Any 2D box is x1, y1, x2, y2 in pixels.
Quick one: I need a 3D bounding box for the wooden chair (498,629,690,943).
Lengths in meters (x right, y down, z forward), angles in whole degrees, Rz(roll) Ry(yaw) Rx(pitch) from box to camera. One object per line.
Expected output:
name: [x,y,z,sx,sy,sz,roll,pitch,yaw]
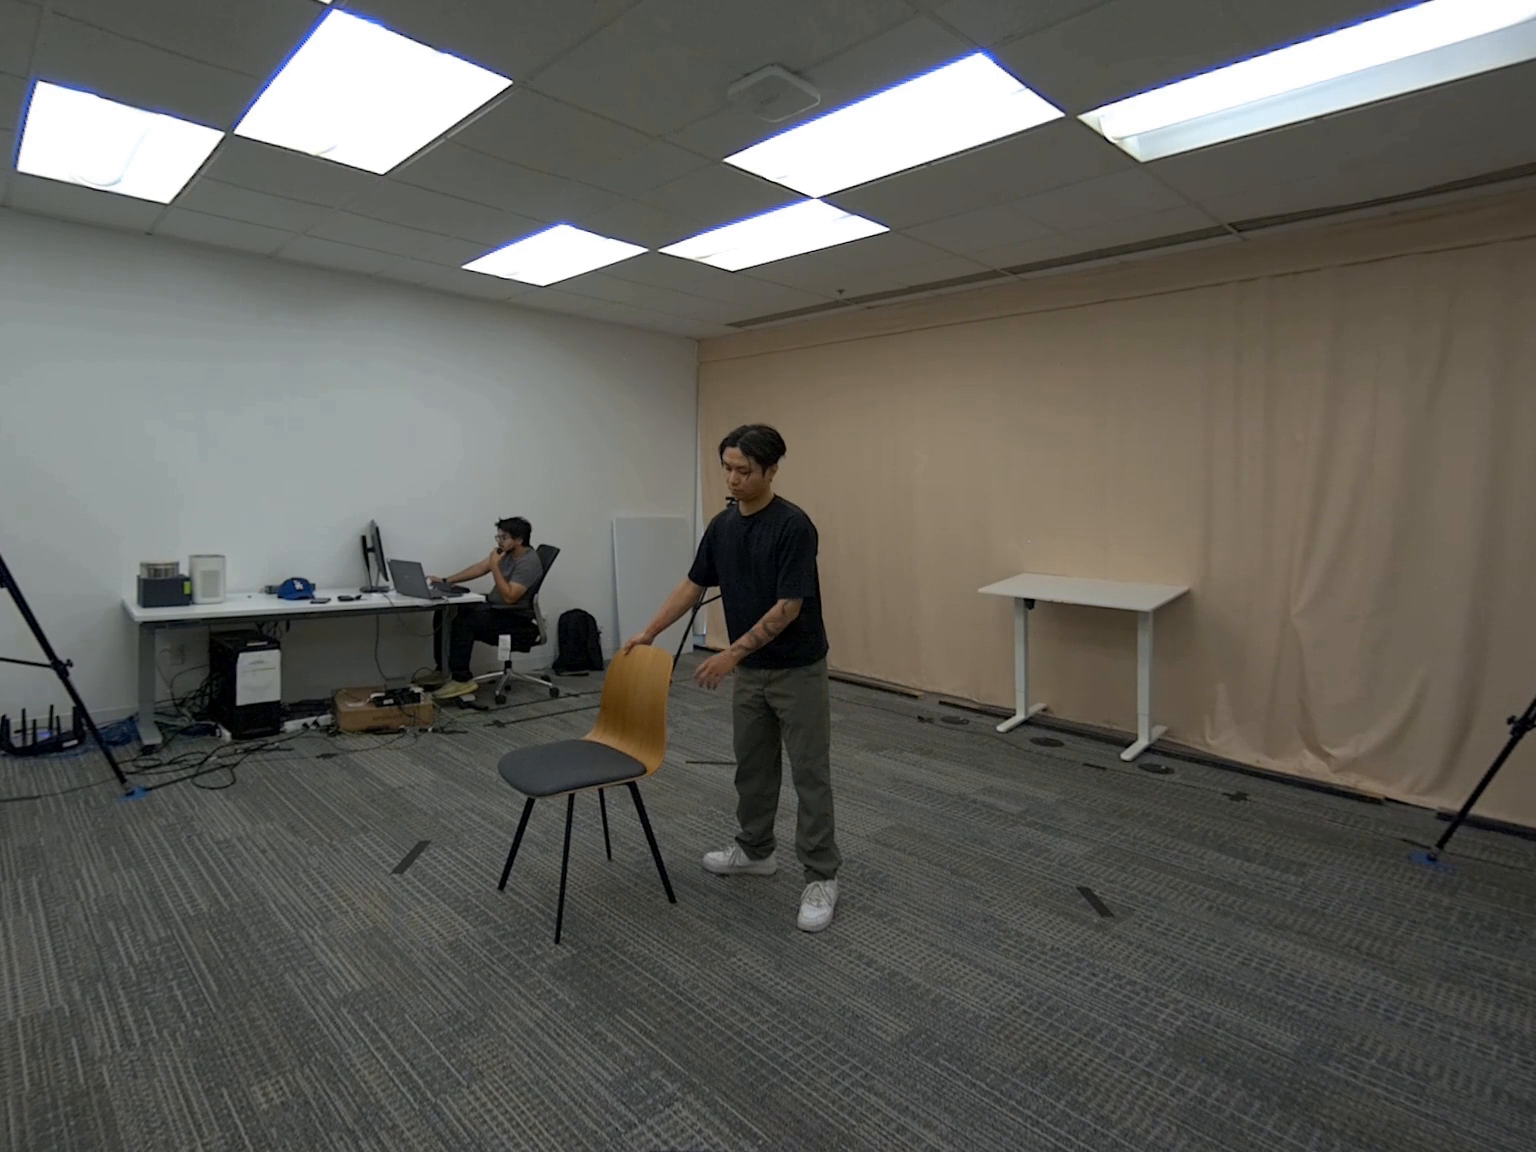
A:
wooden chair: [-0.629,0.686,2.880,0.510,0.877,0.490,4,1,-40]
